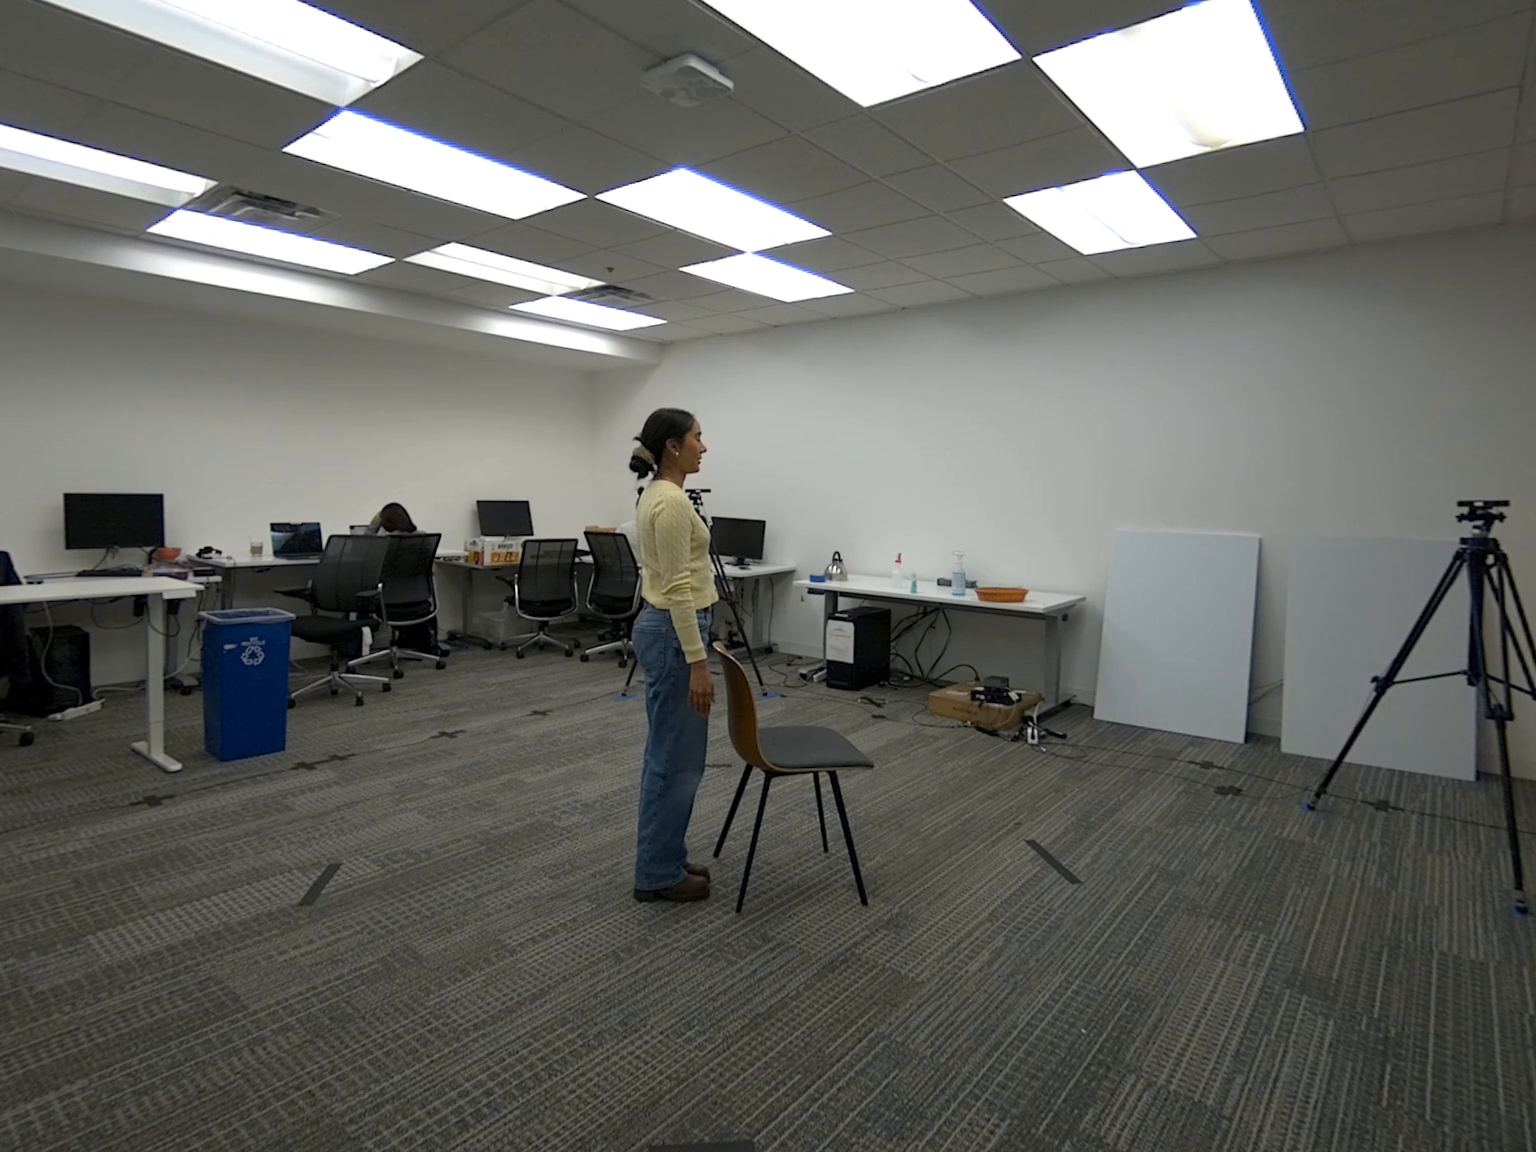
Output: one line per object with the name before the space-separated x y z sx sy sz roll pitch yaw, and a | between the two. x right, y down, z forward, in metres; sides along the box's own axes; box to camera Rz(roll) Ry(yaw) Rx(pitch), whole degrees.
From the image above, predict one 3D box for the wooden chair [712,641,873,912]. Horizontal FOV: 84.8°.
wooden chair | 0.080 0.663 3.025 0.517 0.875 0.485 -3 3 -13
